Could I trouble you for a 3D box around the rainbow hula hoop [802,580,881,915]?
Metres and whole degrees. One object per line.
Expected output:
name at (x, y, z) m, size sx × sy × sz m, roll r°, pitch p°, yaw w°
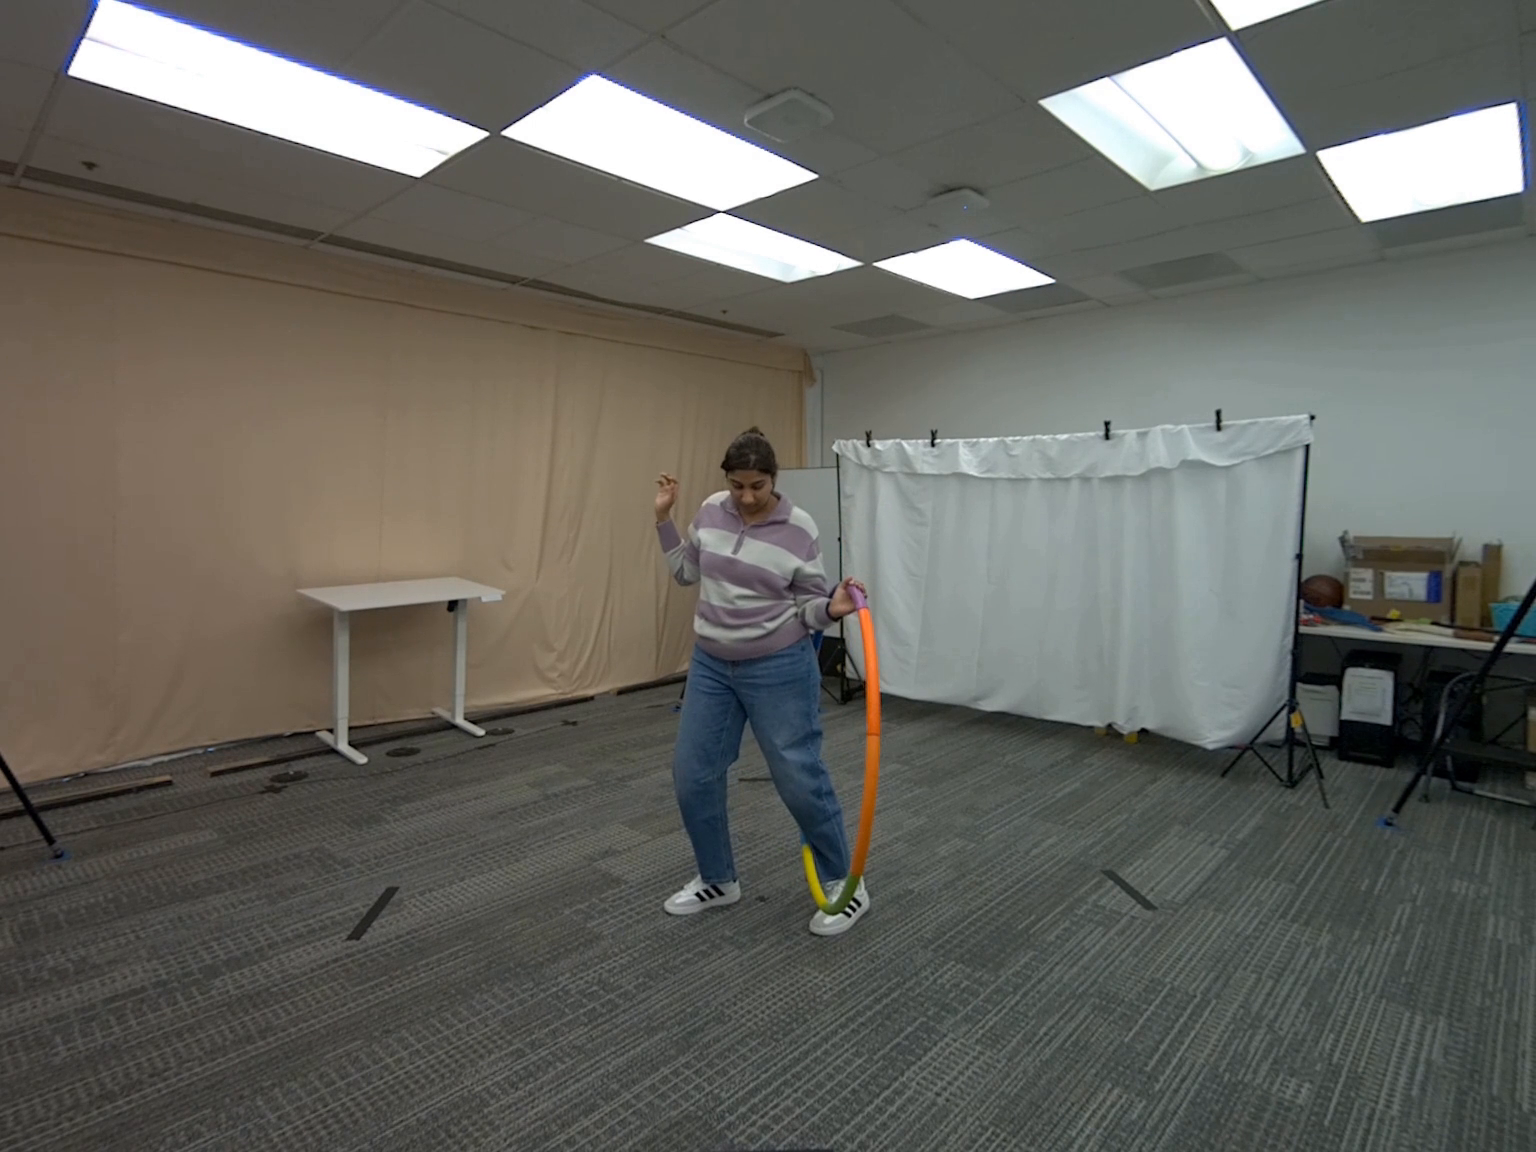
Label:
rainbow hula hoop at (0.202, 0.506, 2.584) m, size 0.051 × 0.984 × 0.991 m, roll 5°, pitch 3°, yaw -6°
